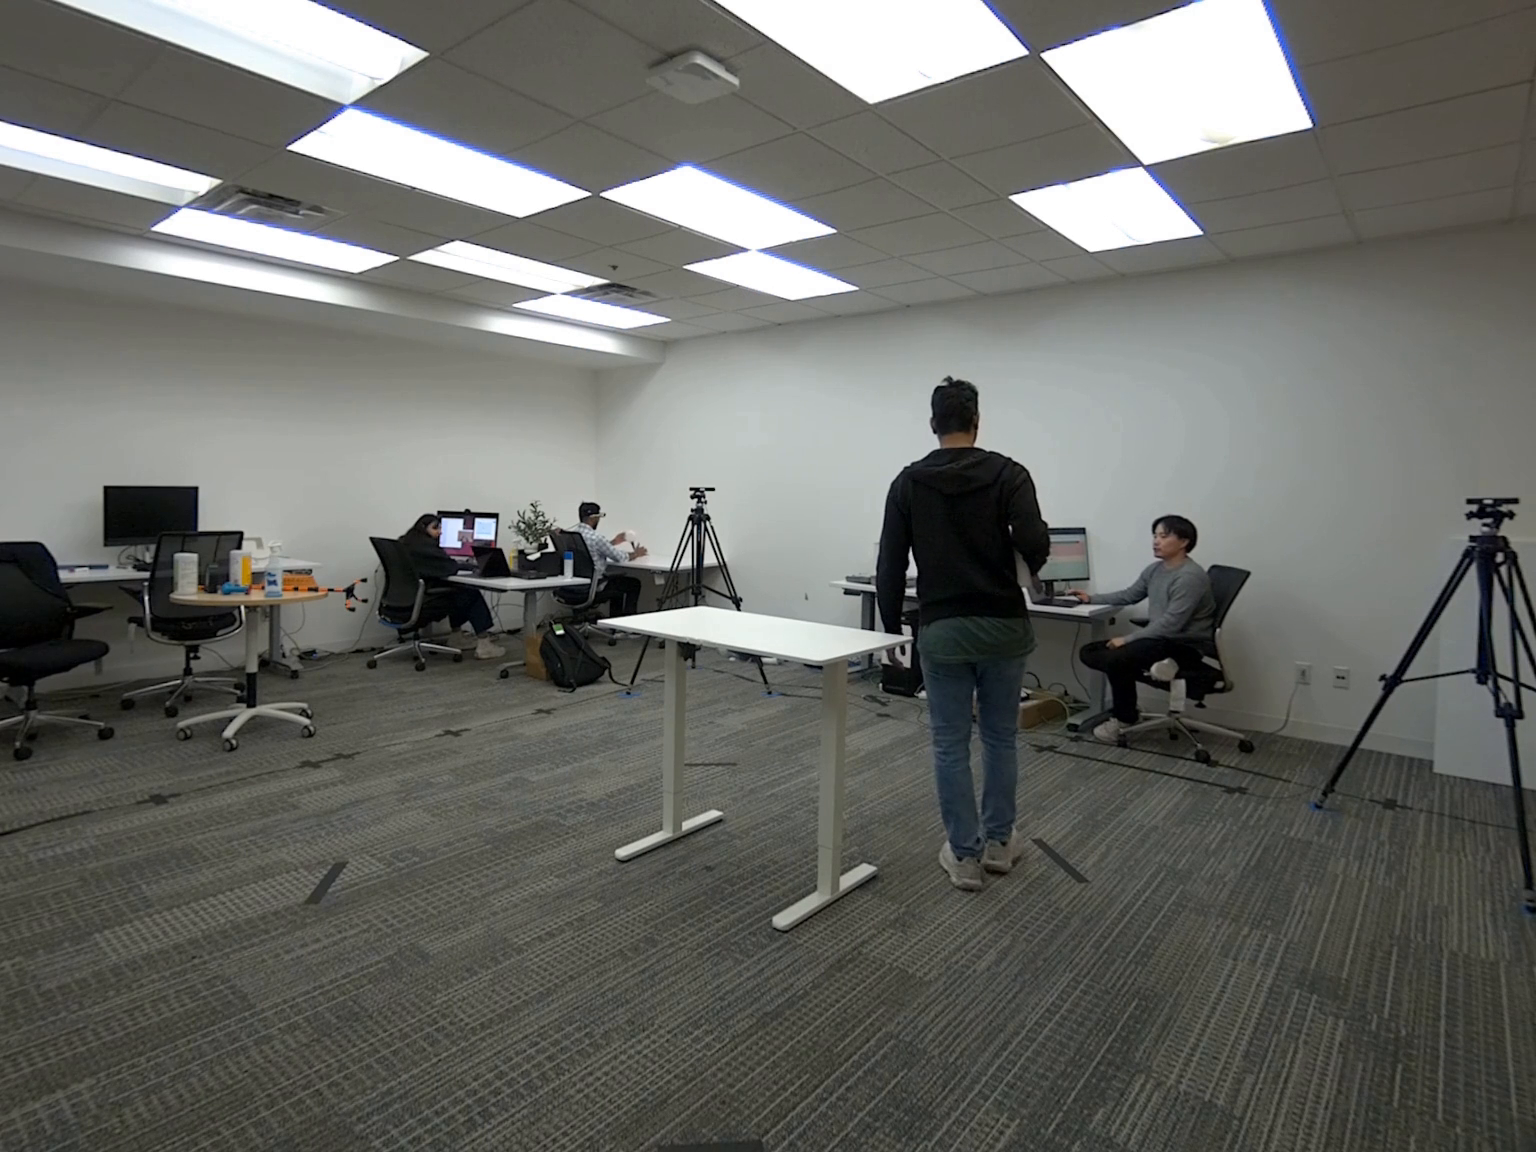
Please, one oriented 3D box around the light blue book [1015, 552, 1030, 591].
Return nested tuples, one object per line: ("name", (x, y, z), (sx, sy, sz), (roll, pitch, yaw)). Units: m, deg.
("light blue book", (0.858, -0.074, 3.057), (0.060, 0.190, 0.260), (-10, 9, 11))
